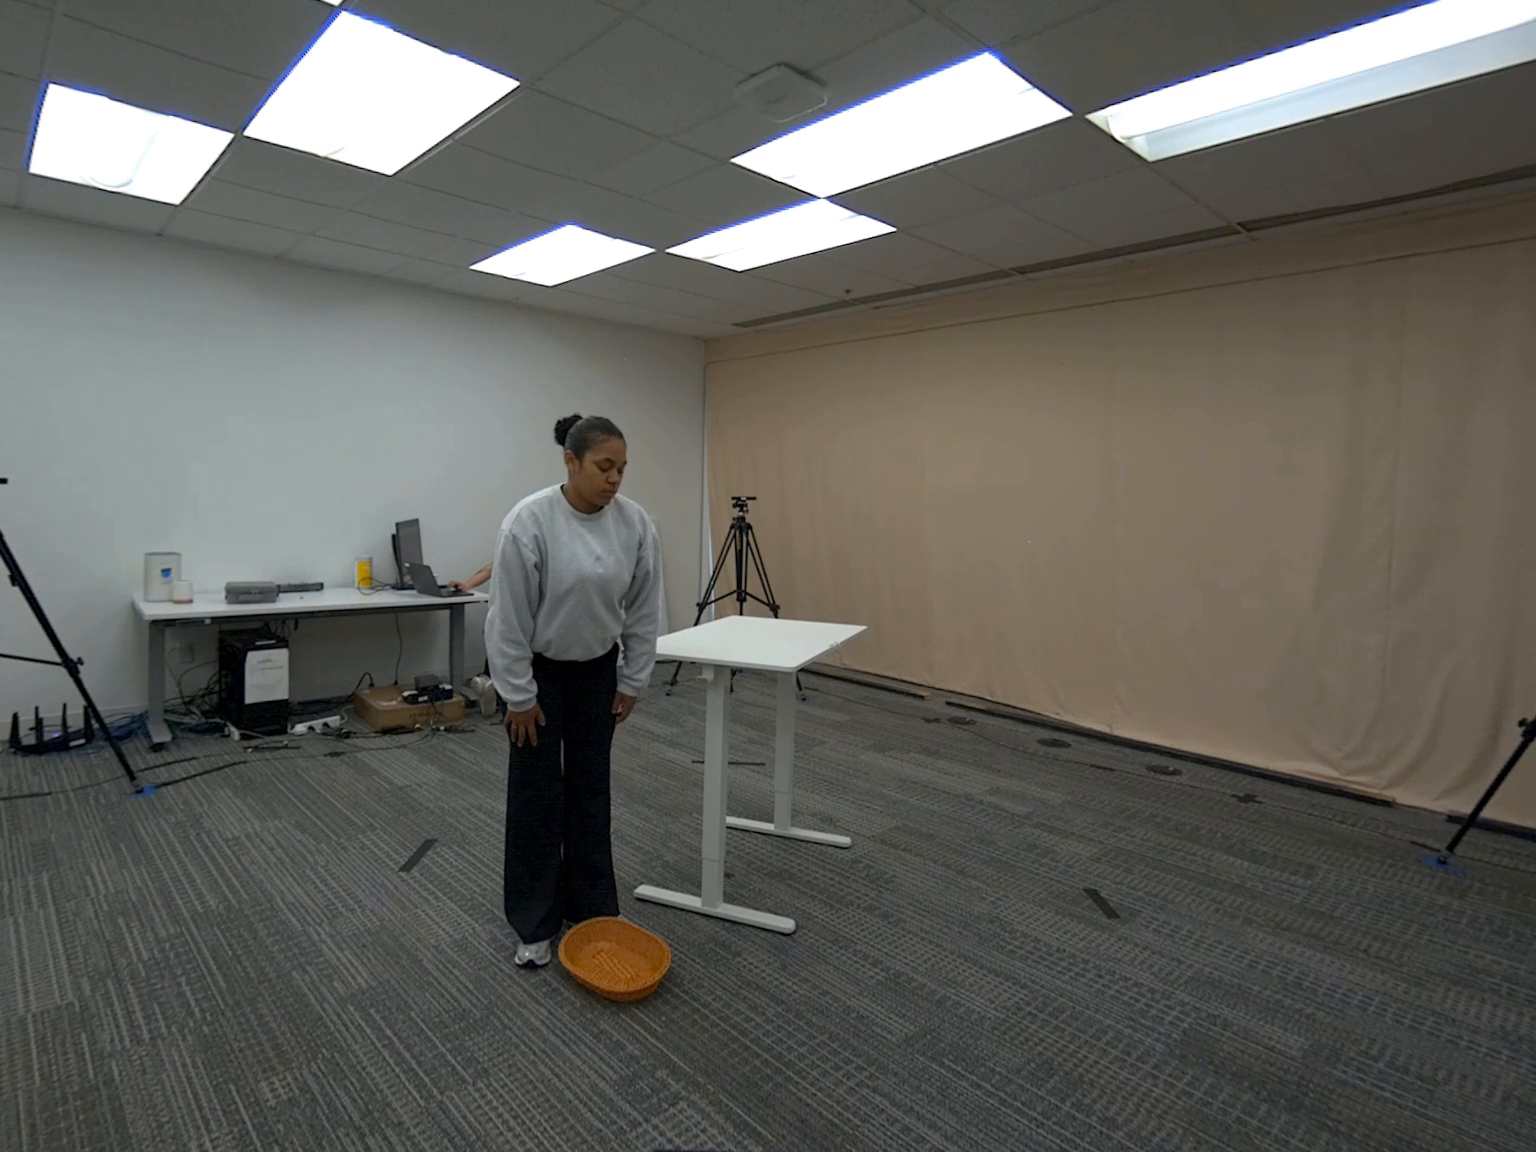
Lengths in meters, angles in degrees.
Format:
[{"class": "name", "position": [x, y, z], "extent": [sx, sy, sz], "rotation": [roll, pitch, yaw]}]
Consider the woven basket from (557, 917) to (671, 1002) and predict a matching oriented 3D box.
[{"class": "woven basket", "position": [-0.446, 1.113, 2.416], "extent": [0.359, 0.073, 0.248], "rotation": [8, 14, 34]}]
